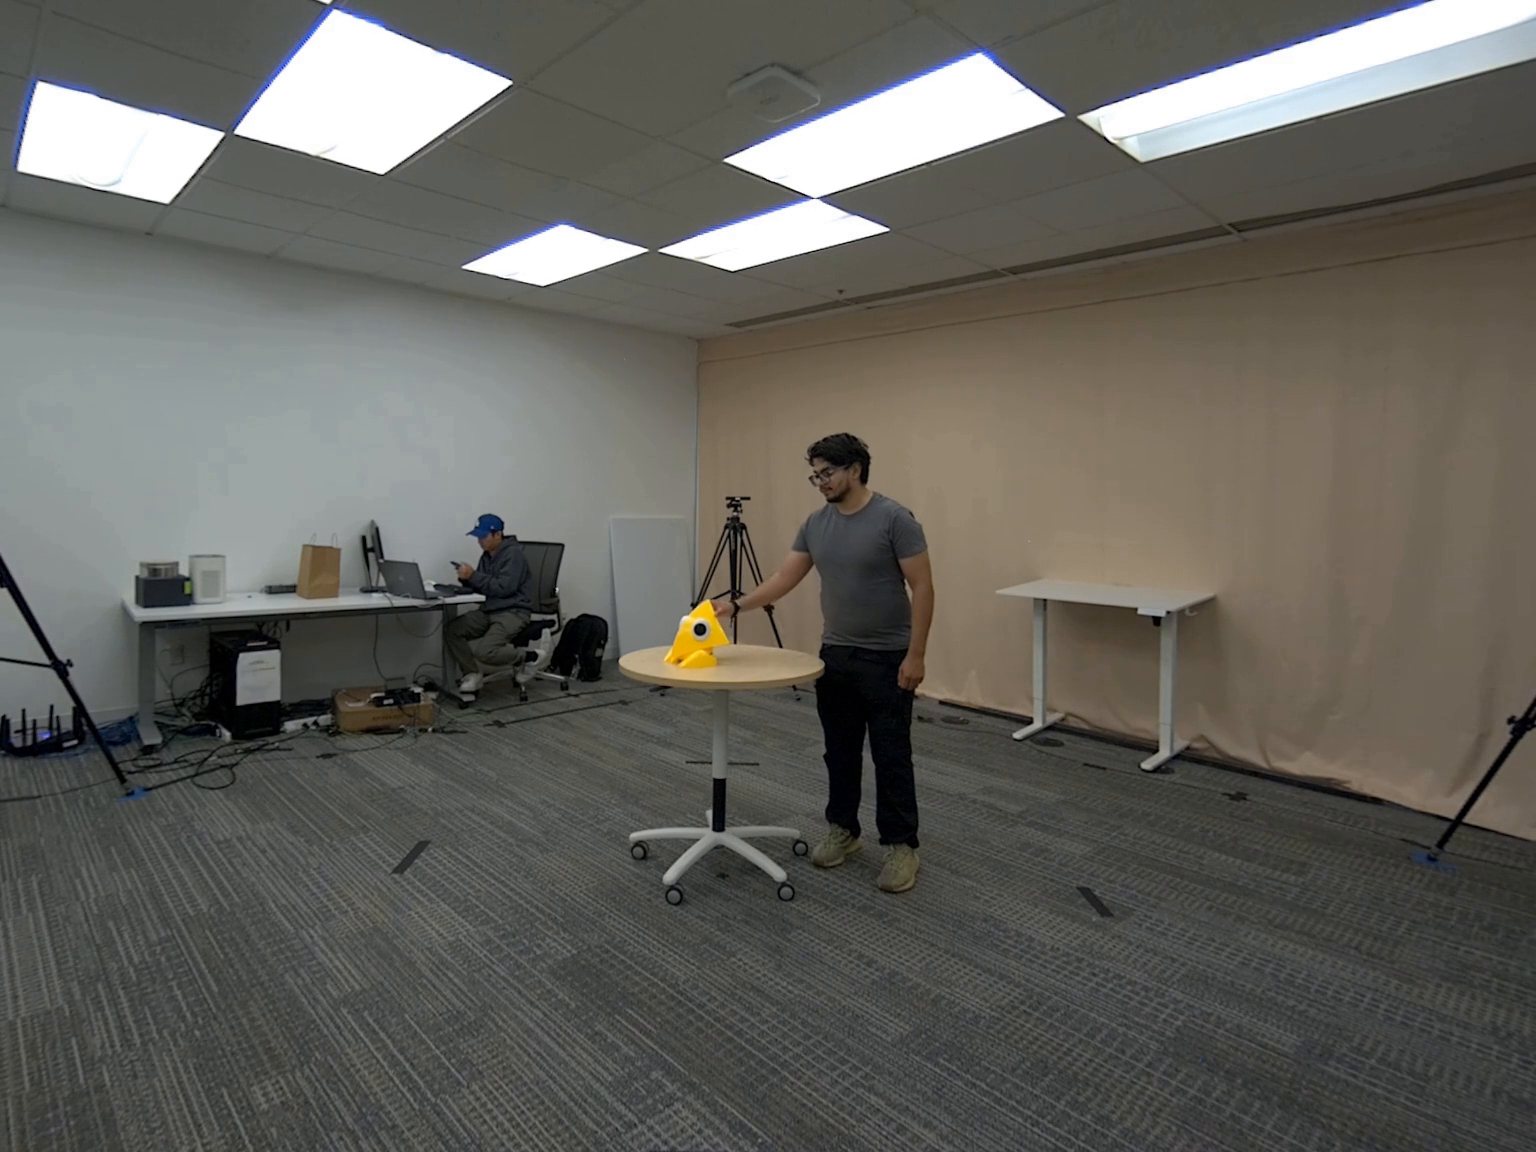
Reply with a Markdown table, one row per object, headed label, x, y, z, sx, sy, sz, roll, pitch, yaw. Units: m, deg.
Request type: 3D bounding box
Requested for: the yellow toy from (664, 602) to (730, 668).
| label | x | y | z | sx | sy | sz | roll | pitch | yaw |
| --- | --- | --- | --- | --- | --- | --- | --- | --- | --- |
| yellow toy | -0.275 | 0.205 | 3.098 | 0.189 | 0.230 | 0.210 | -2 | 4 | -35 |
